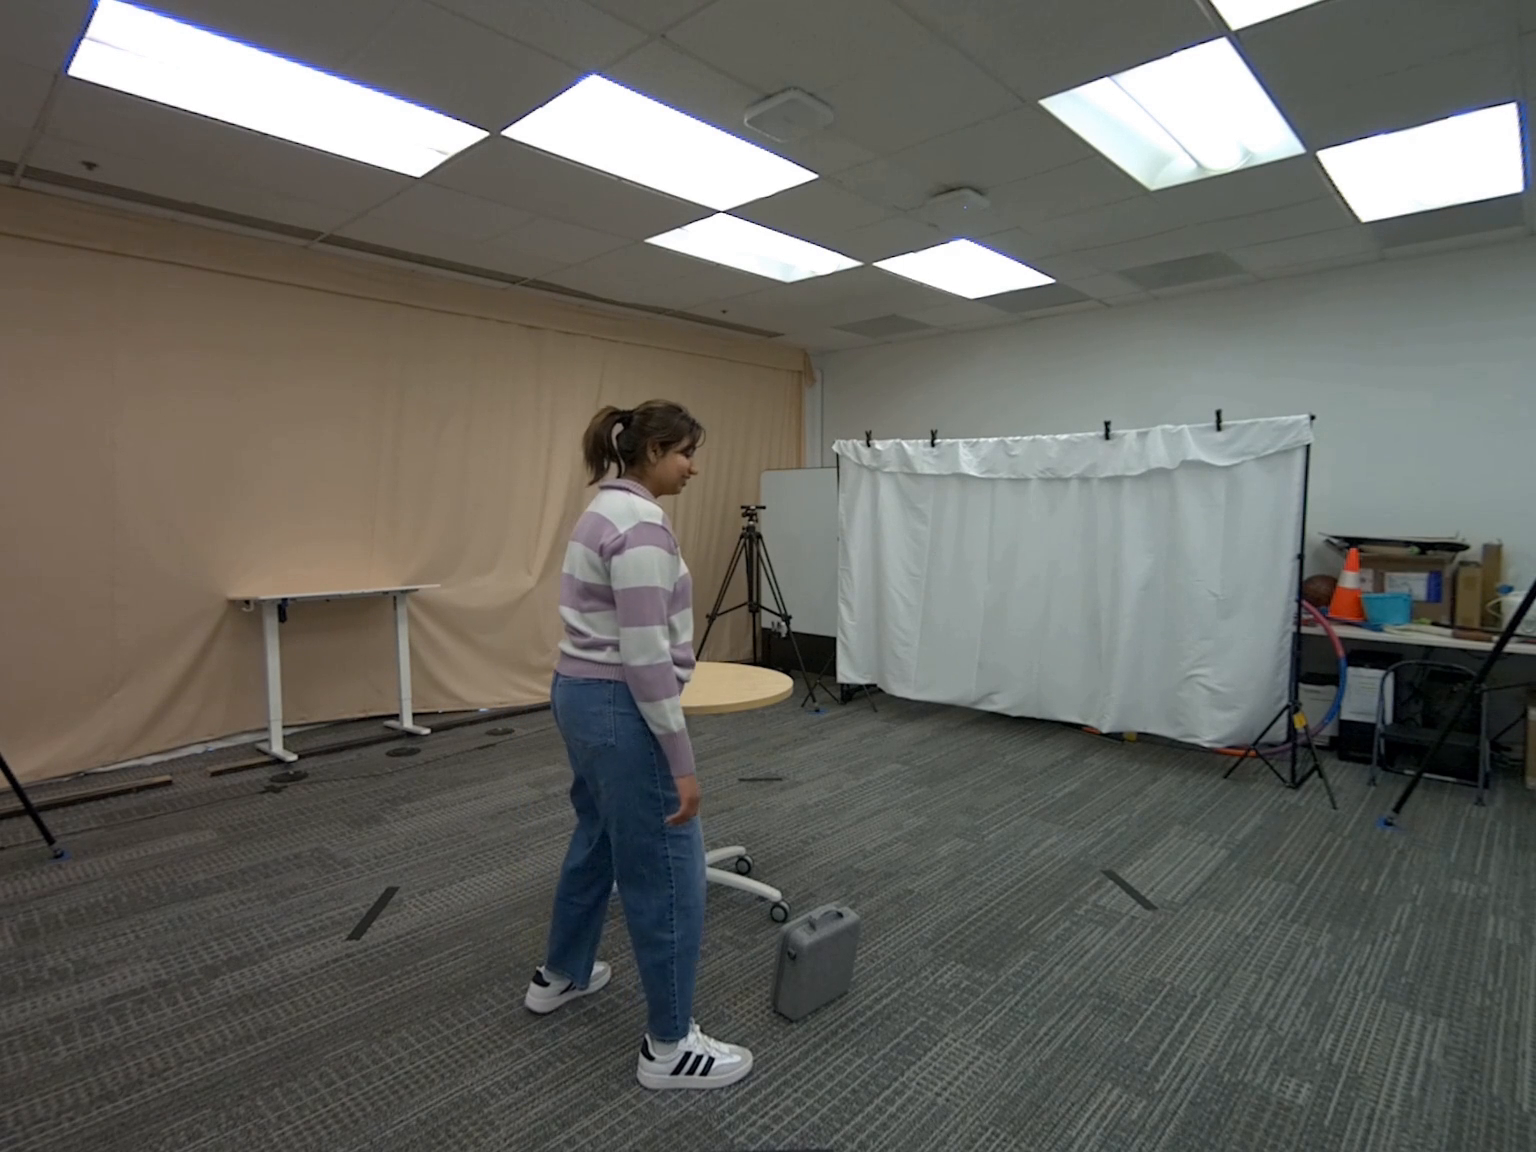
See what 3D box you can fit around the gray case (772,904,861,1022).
[{"bbox_3d":[0.141,1.065,2.345,0.249,0.259,0.108,-4,15,-41],"label":"gray case"}]
